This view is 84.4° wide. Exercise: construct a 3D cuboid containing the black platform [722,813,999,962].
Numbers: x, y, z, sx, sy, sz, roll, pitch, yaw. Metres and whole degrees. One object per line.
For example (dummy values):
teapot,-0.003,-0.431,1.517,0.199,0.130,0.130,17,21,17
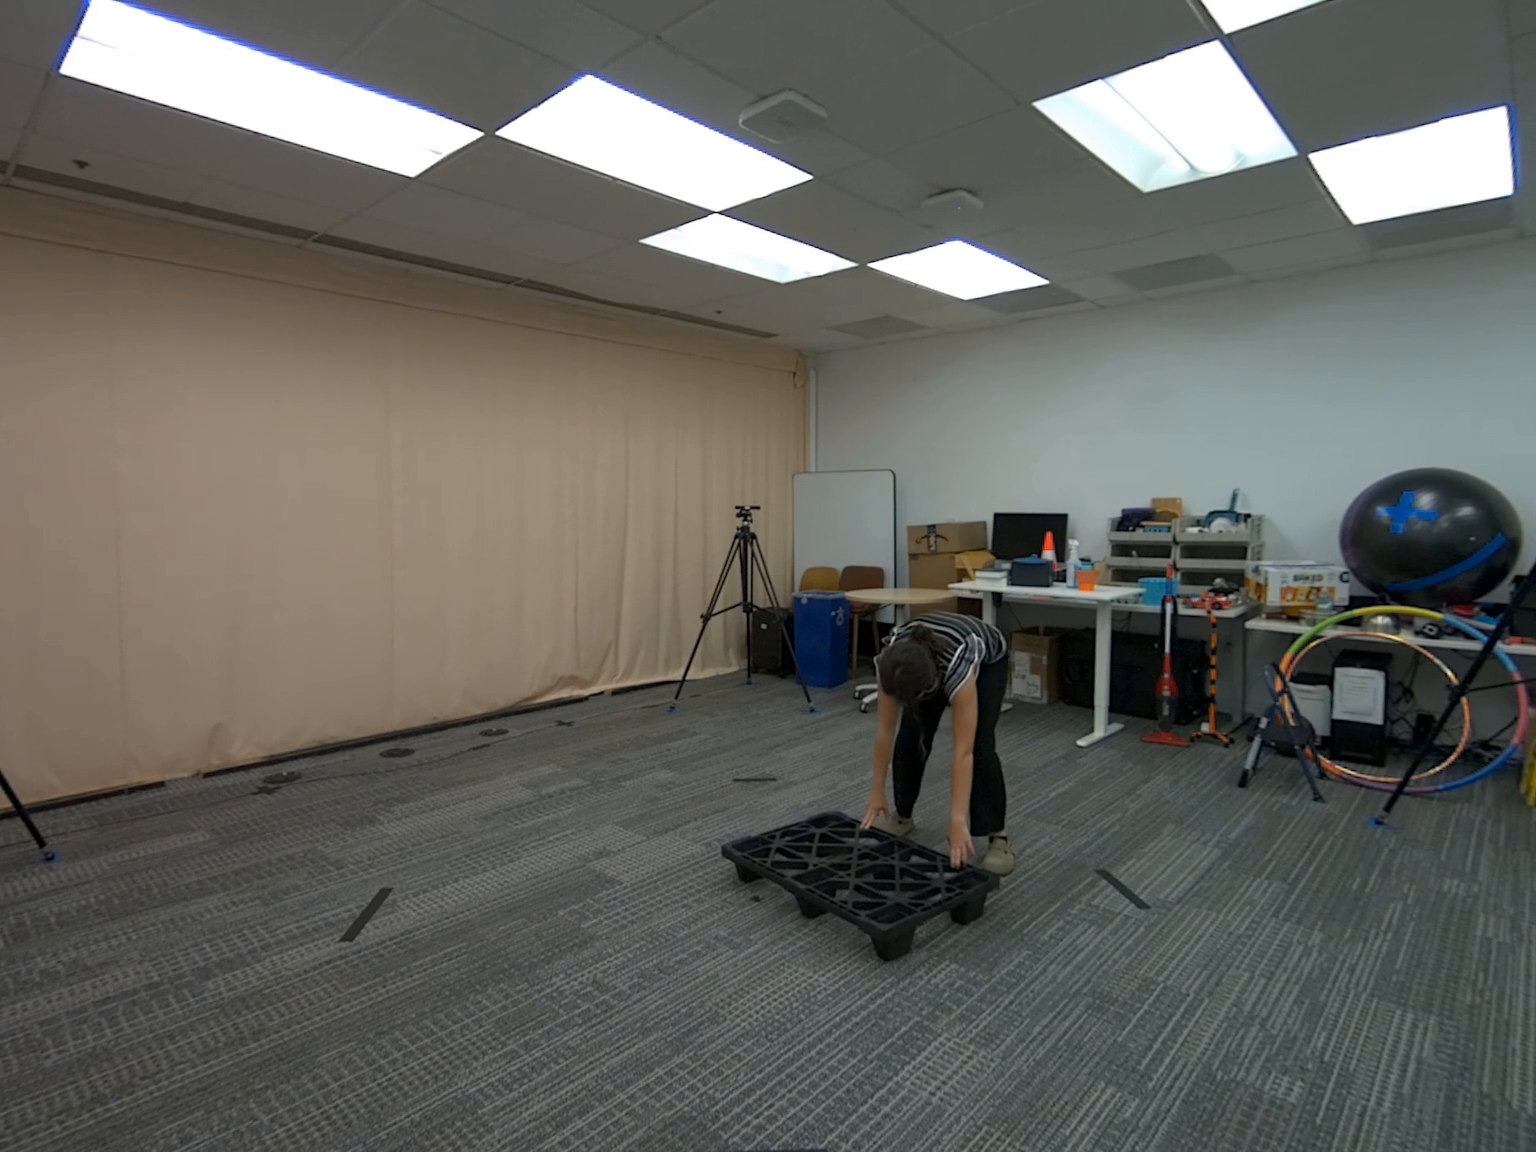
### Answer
black platform,0.307,1.076,2.985,0.587,0.143,0.832,-4,6,-38
